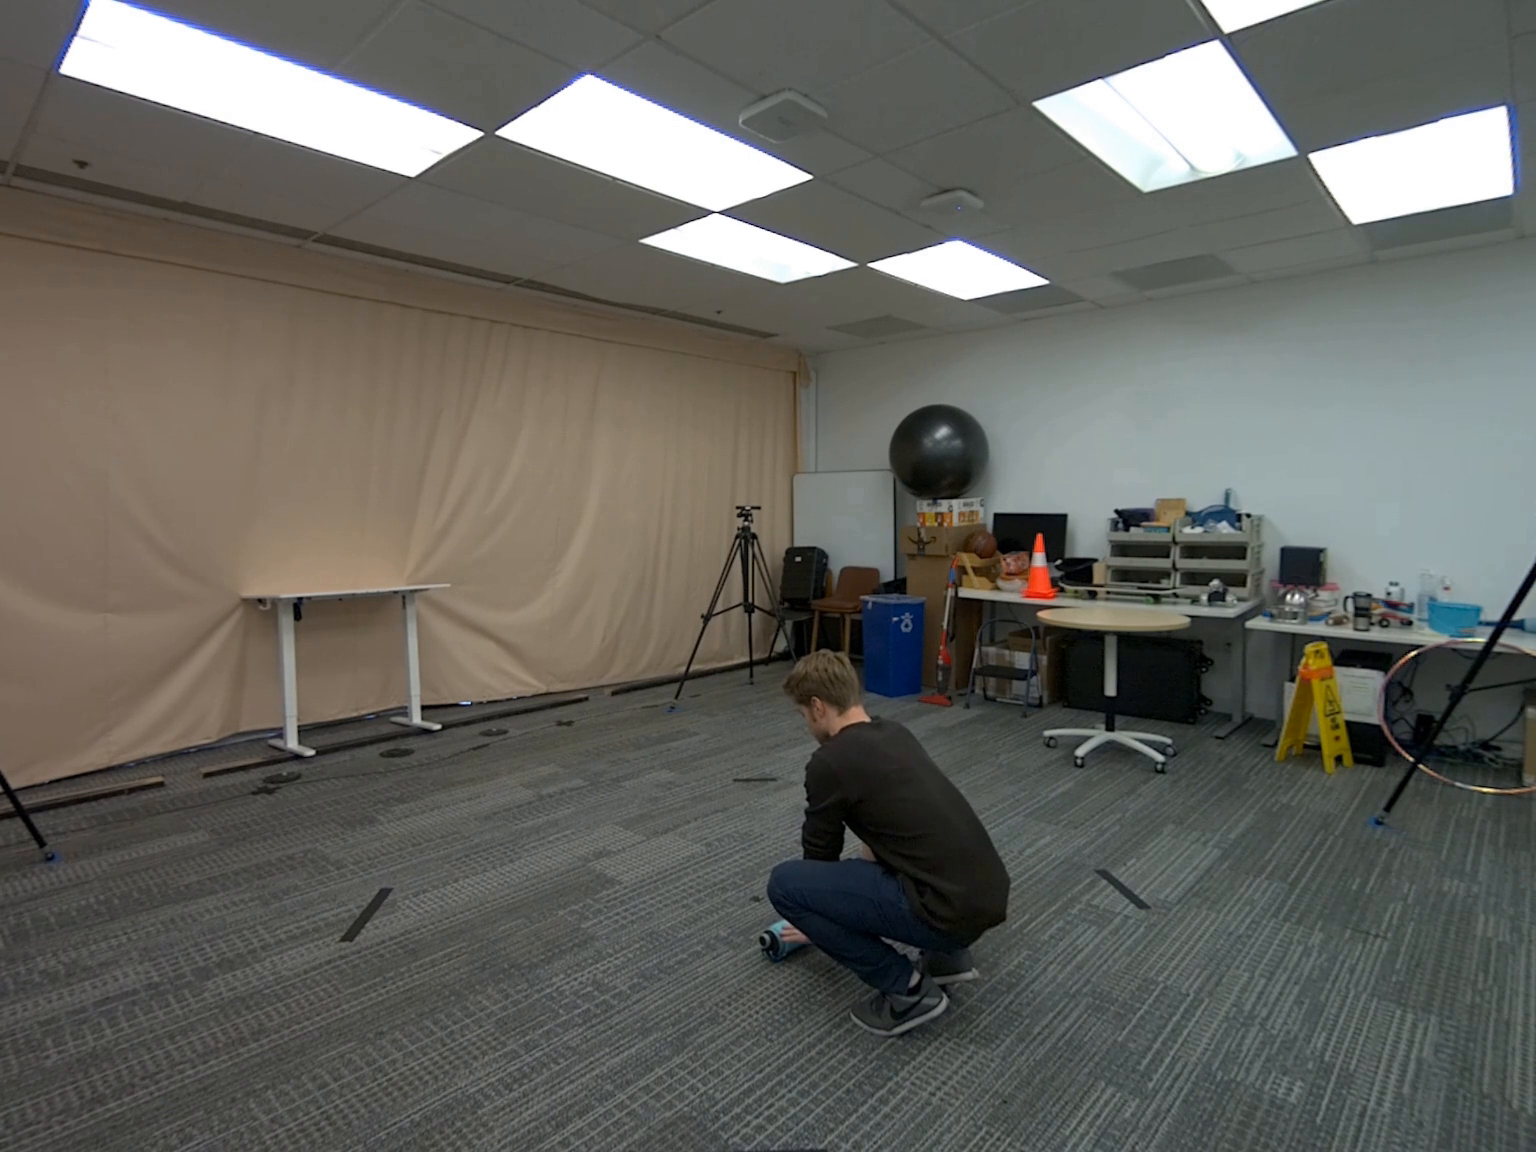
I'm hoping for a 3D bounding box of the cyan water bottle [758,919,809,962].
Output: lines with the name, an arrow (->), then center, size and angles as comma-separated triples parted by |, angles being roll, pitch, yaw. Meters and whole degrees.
cyan water bottle -> 0.086, 1.118, 2.668 | 0.275, 0.092, 0.095 | -5, 6, -42
